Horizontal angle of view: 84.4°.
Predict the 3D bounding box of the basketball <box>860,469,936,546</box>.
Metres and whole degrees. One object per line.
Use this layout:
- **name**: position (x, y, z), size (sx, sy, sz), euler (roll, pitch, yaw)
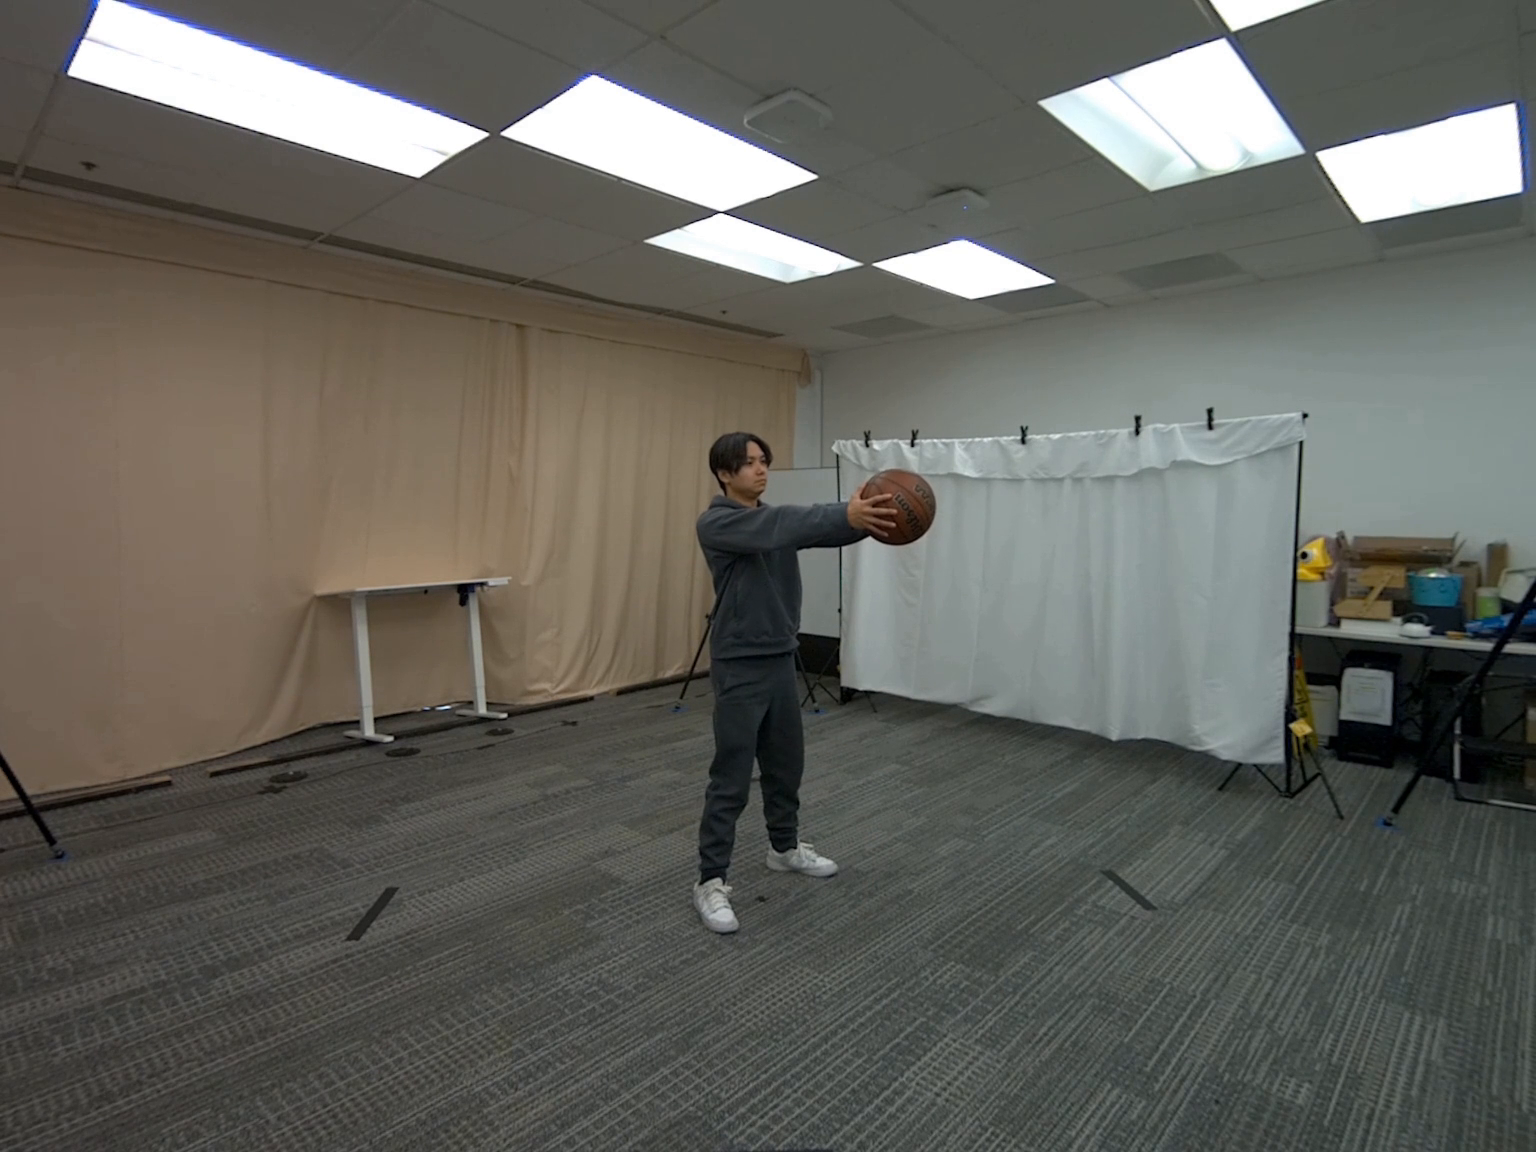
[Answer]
- **basketball**: position (0.398, -0.212, 2.596), size (0.236, 0.235, 0.237), euler (0, 4, -2)
